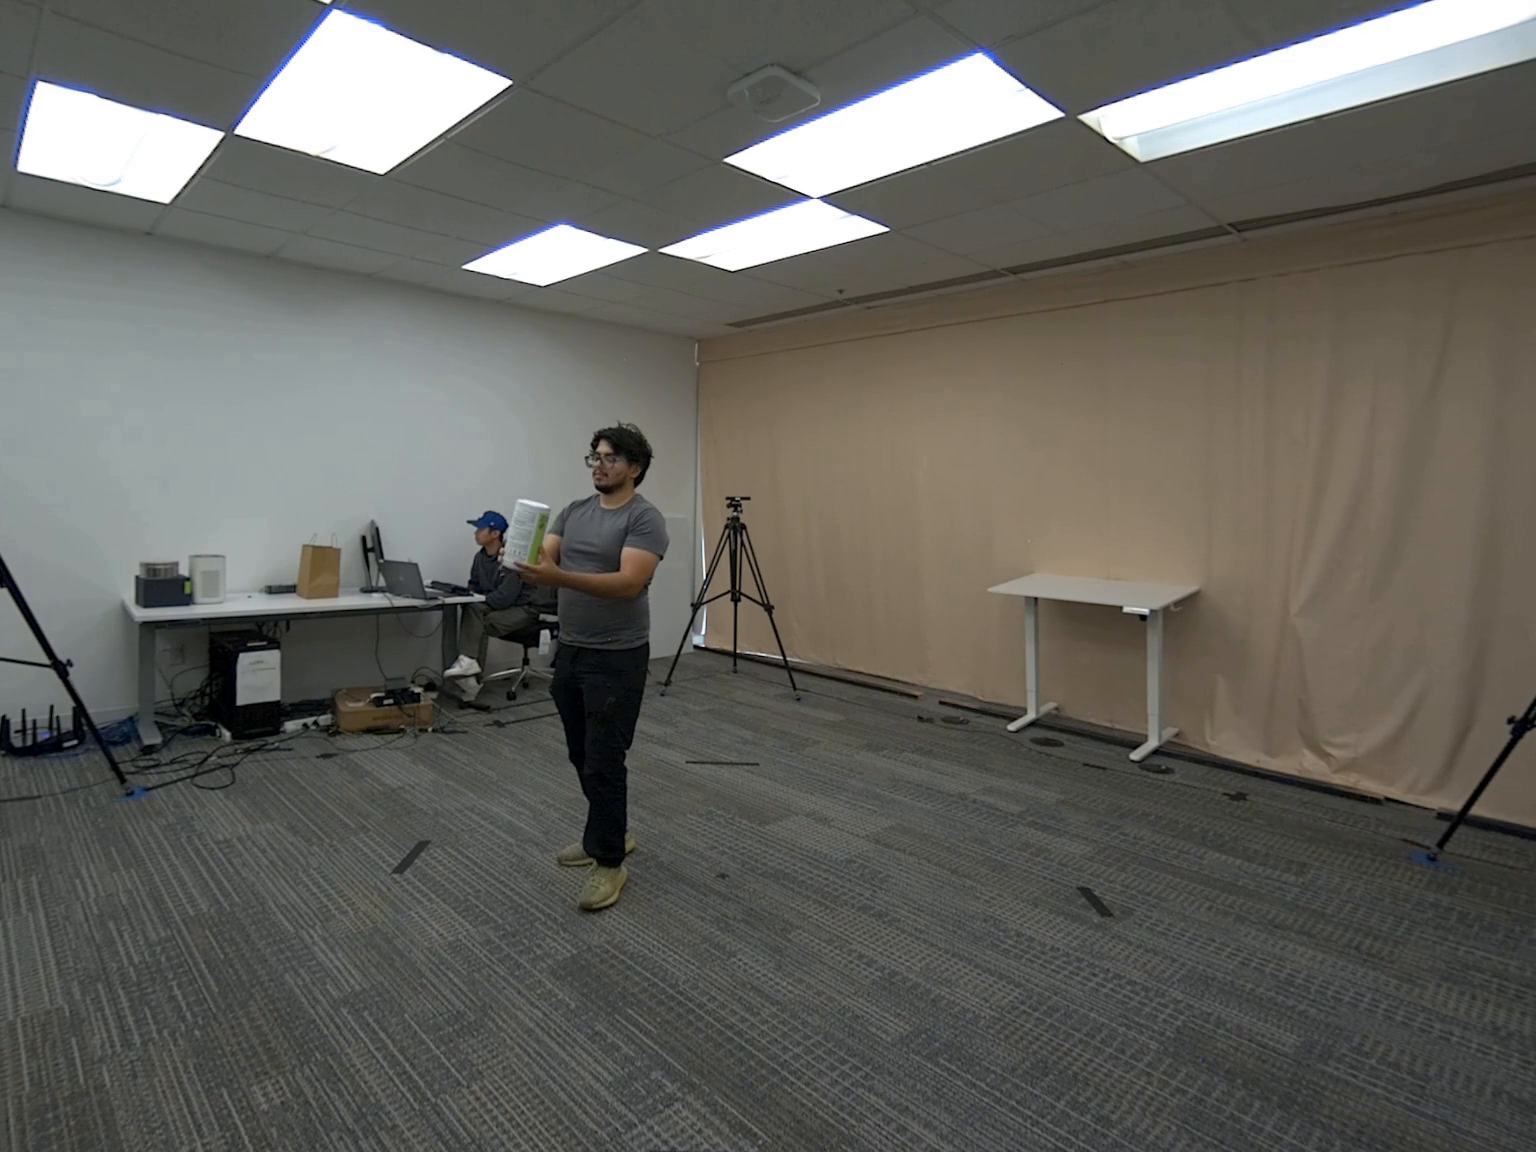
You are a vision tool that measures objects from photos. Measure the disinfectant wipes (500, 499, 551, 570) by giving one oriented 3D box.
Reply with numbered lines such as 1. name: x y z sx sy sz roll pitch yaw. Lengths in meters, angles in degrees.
1. disinfectant wipes: -0.786 -0.129 2.675 0.117 0.217 0.118 13 4 -2
